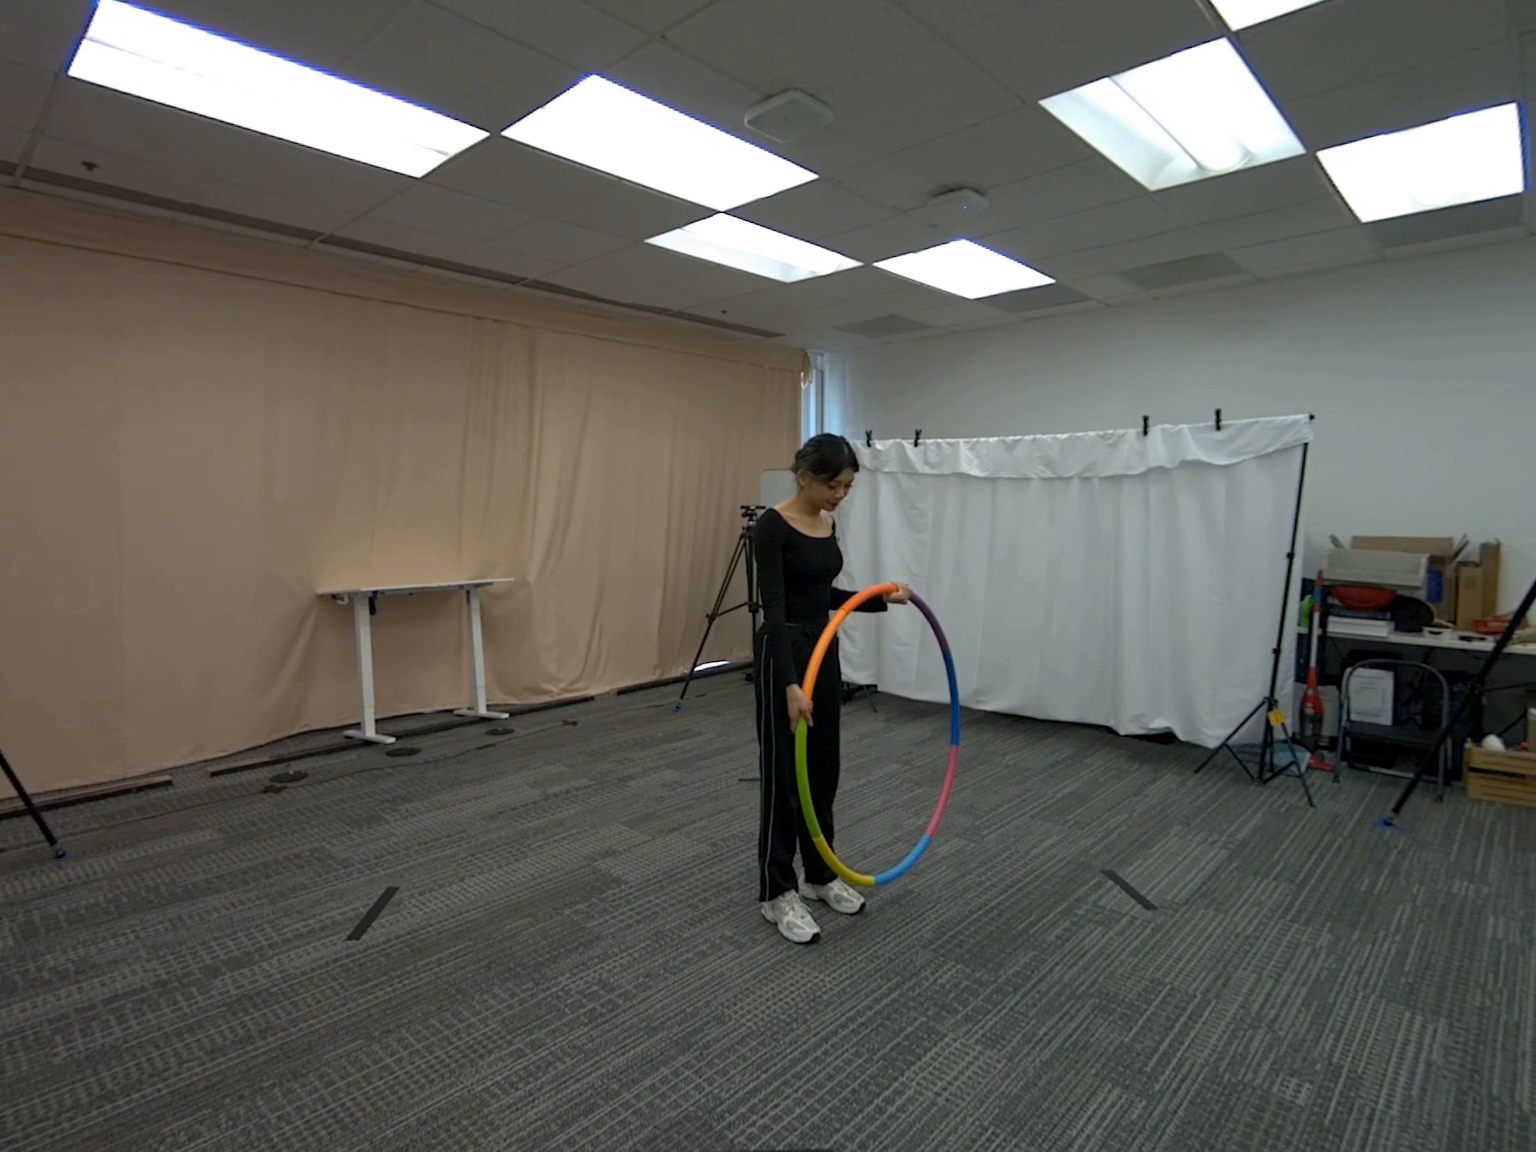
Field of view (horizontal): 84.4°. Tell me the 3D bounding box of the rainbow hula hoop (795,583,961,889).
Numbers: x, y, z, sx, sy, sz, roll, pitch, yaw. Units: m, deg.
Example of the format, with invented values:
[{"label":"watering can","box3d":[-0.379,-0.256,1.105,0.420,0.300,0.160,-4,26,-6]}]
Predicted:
[{"label":"rainbow hula hoop","box3d":[0.413,0.524,2.838,0.037,0.978,0.949,-1,2,42]}]
